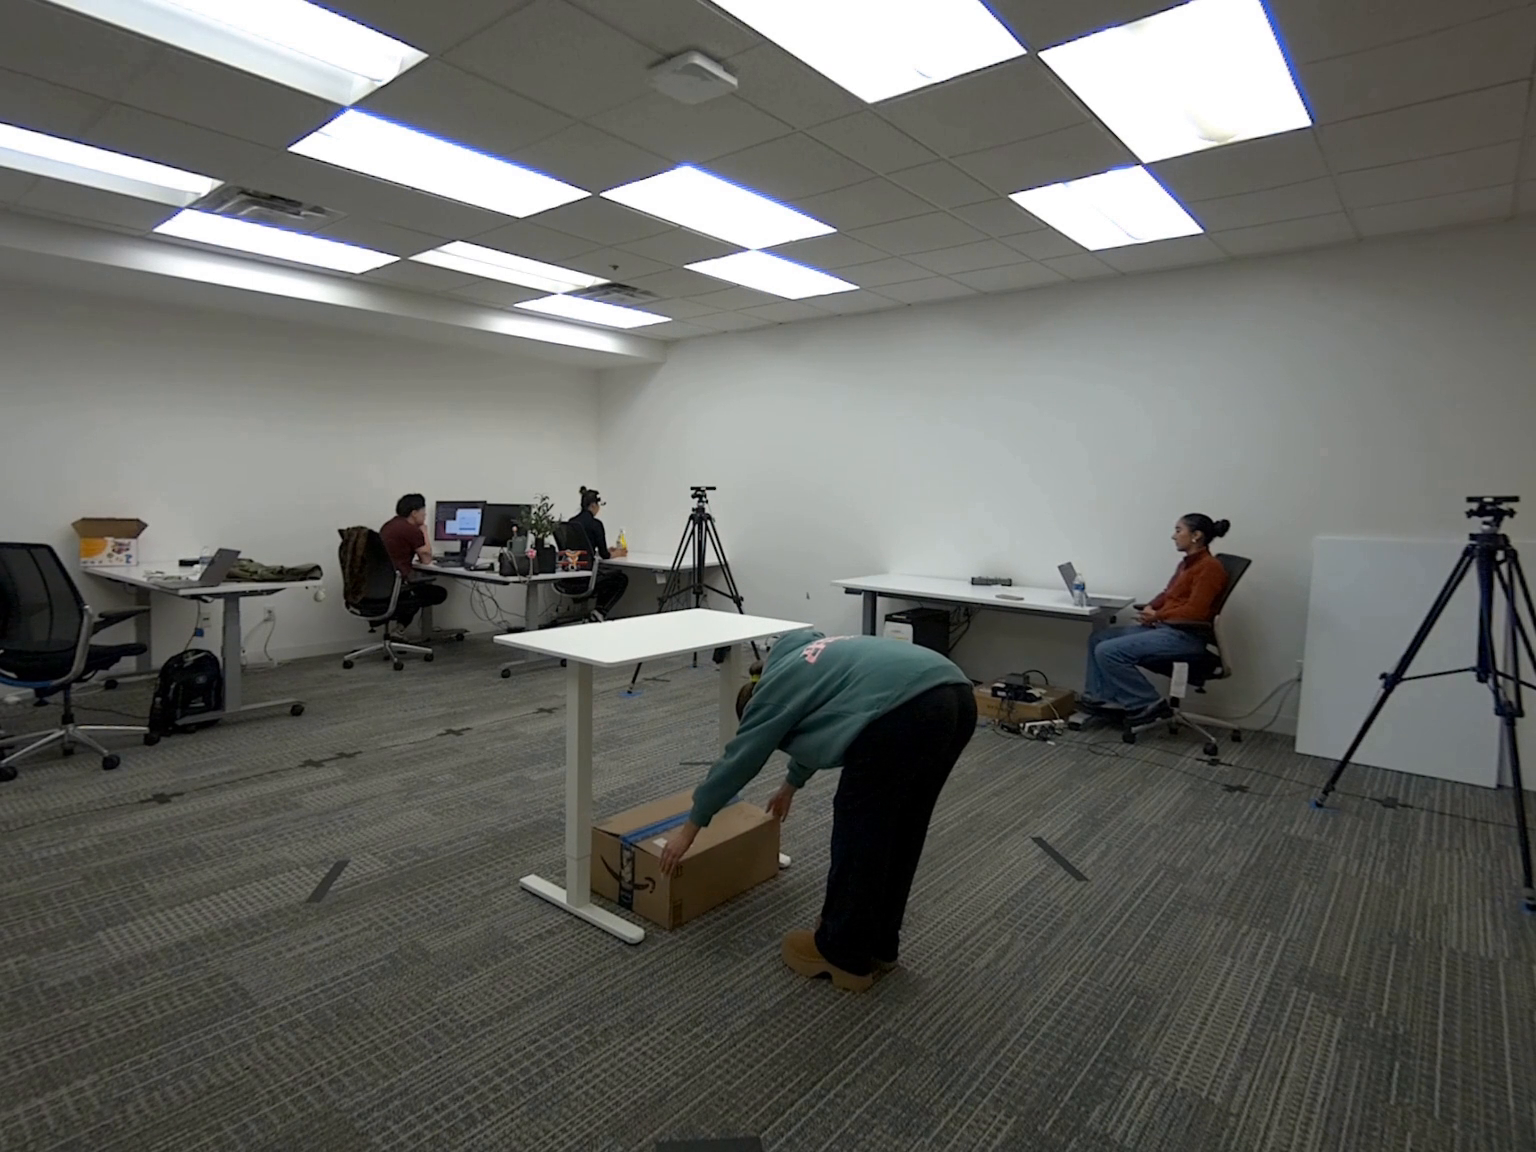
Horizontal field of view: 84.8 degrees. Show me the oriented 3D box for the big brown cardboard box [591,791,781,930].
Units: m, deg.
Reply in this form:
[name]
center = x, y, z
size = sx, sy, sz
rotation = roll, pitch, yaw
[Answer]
[big brown cardboard box]
center = -0.293, 0.961, 2.982
size = 0.431, 0.232, 0.571
rotation = 5, 6, 39
